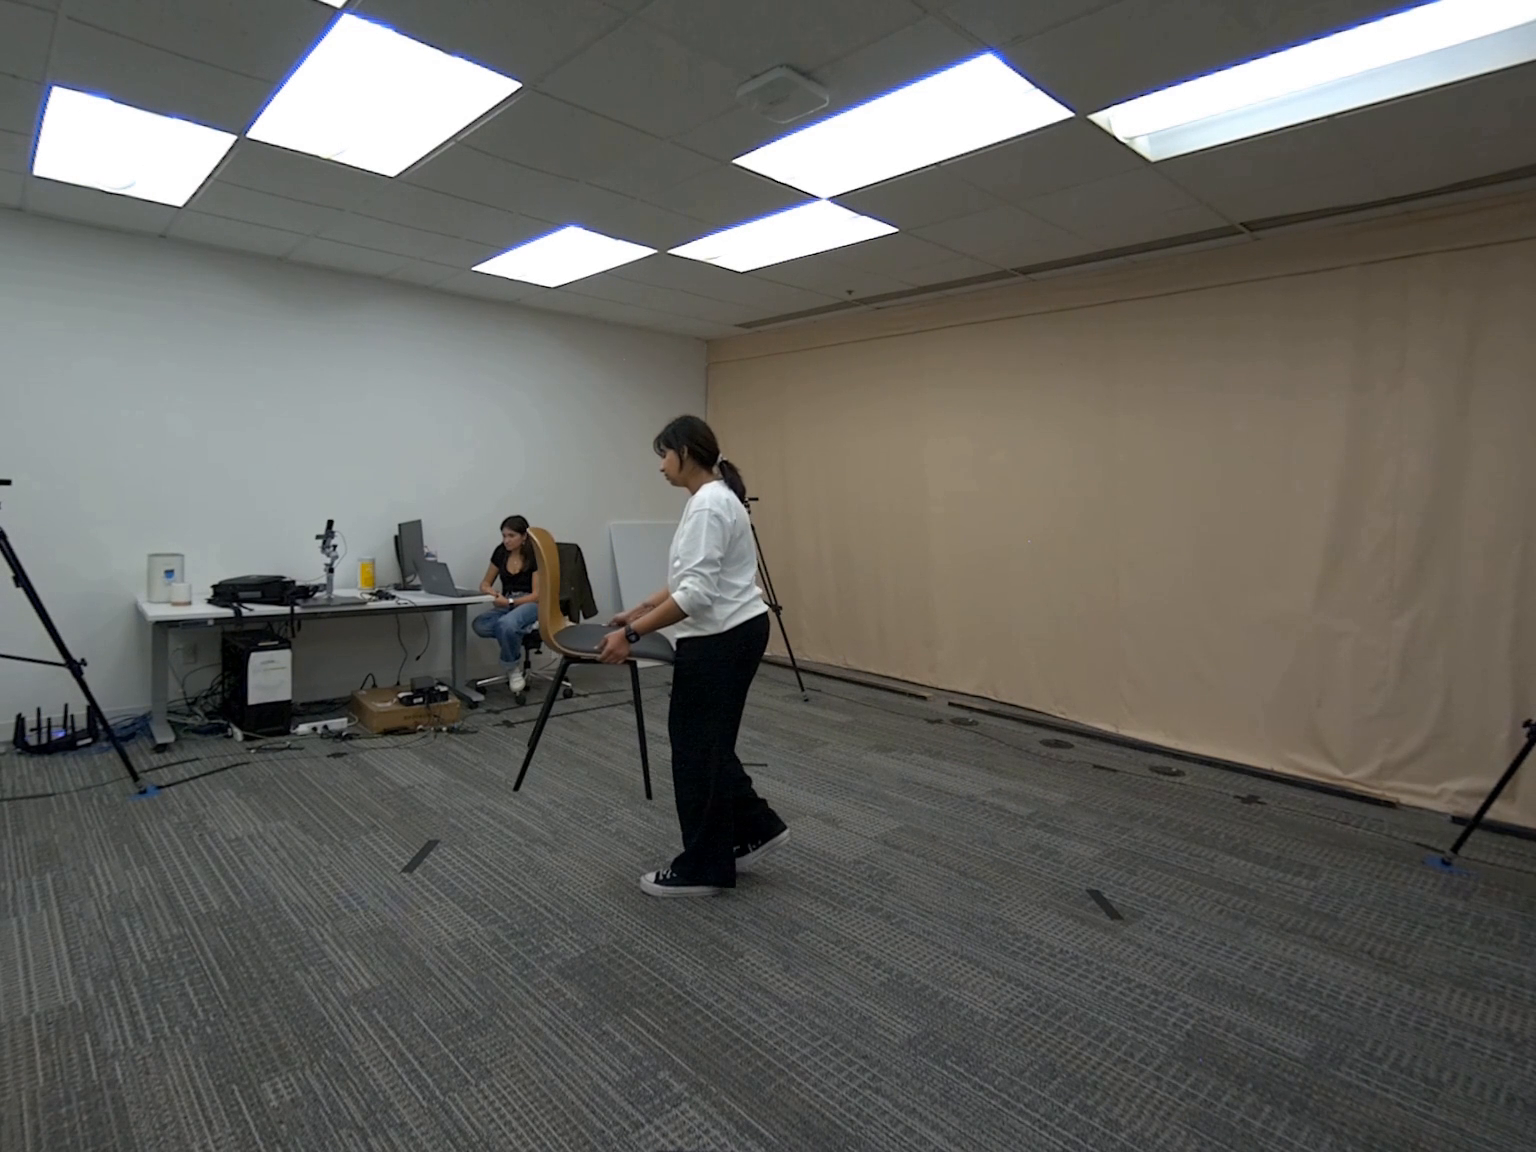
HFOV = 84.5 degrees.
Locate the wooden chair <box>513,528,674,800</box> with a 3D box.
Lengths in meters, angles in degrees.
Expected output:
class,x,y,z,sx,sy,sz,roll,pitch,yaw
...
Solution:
class,x,y,z,sx,sy,sz,roll,pitch,yaw
wooden chair,-0.591,0.279,2.964,0.519,0.875,0.483,2,4,-10
